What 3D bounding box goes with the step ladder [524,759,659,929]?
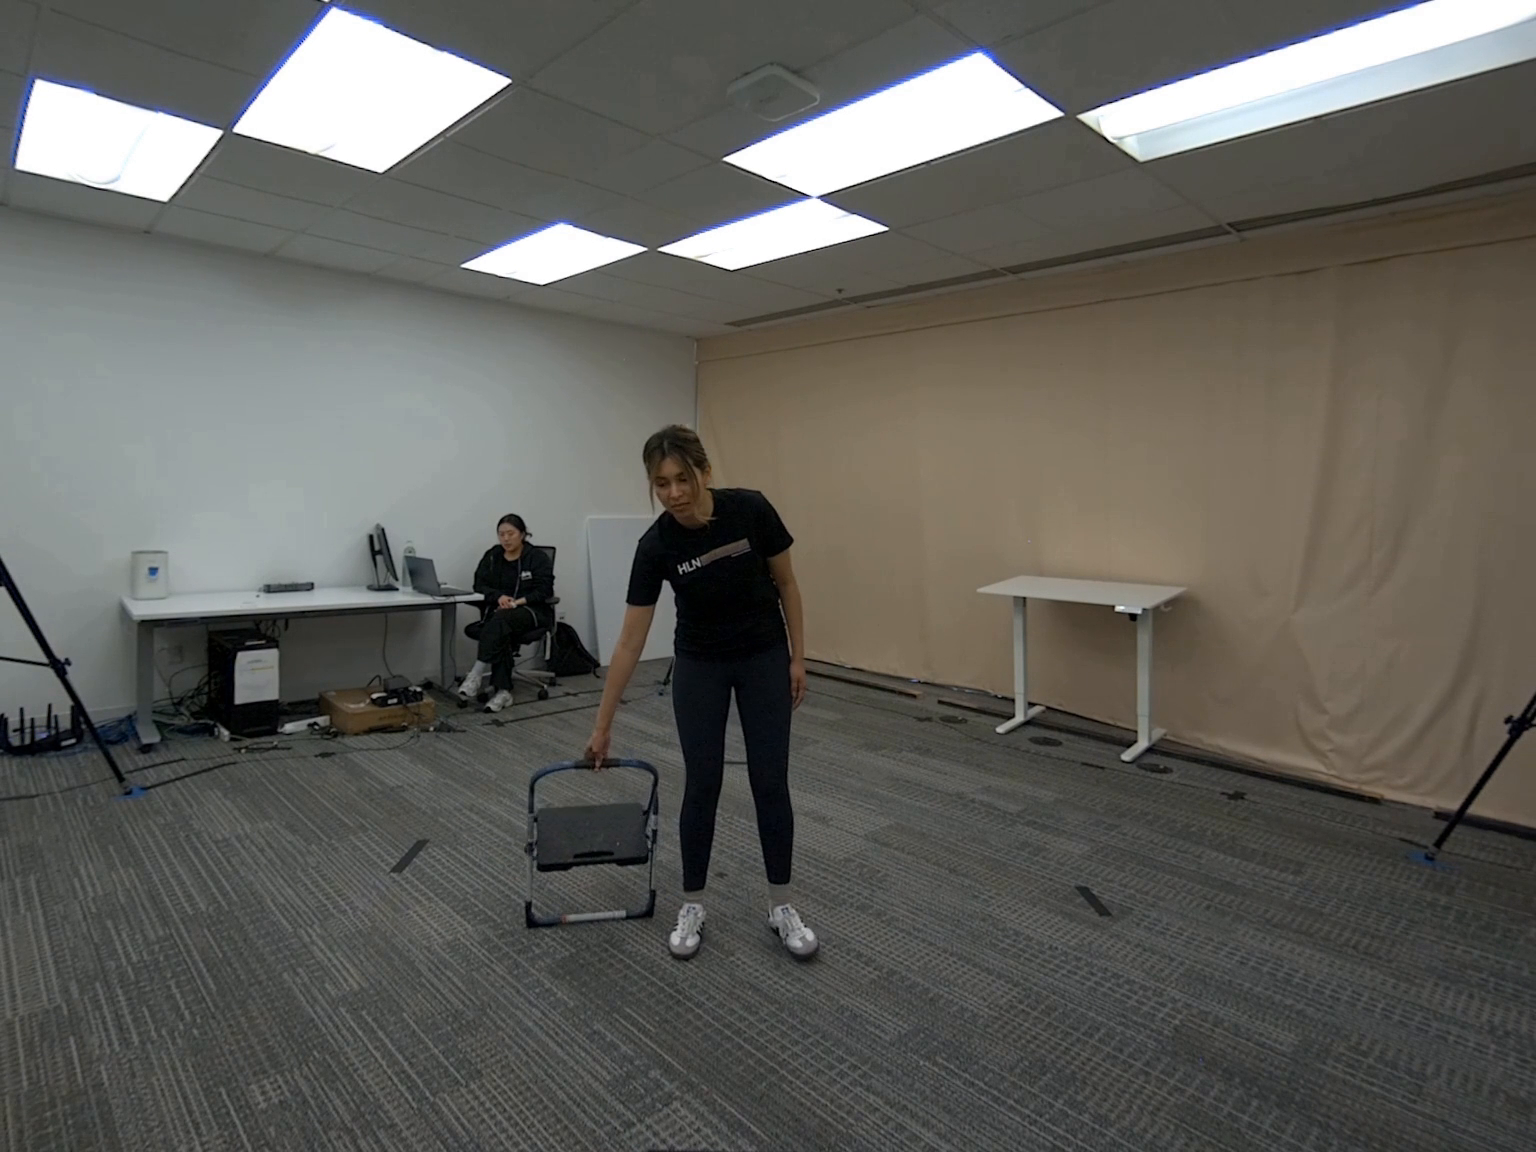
[{"bbox_3d":[-0.580,0.790,2.745,0.426,0.596,0.358,0,29,-14],"label":"step ladder"}]
